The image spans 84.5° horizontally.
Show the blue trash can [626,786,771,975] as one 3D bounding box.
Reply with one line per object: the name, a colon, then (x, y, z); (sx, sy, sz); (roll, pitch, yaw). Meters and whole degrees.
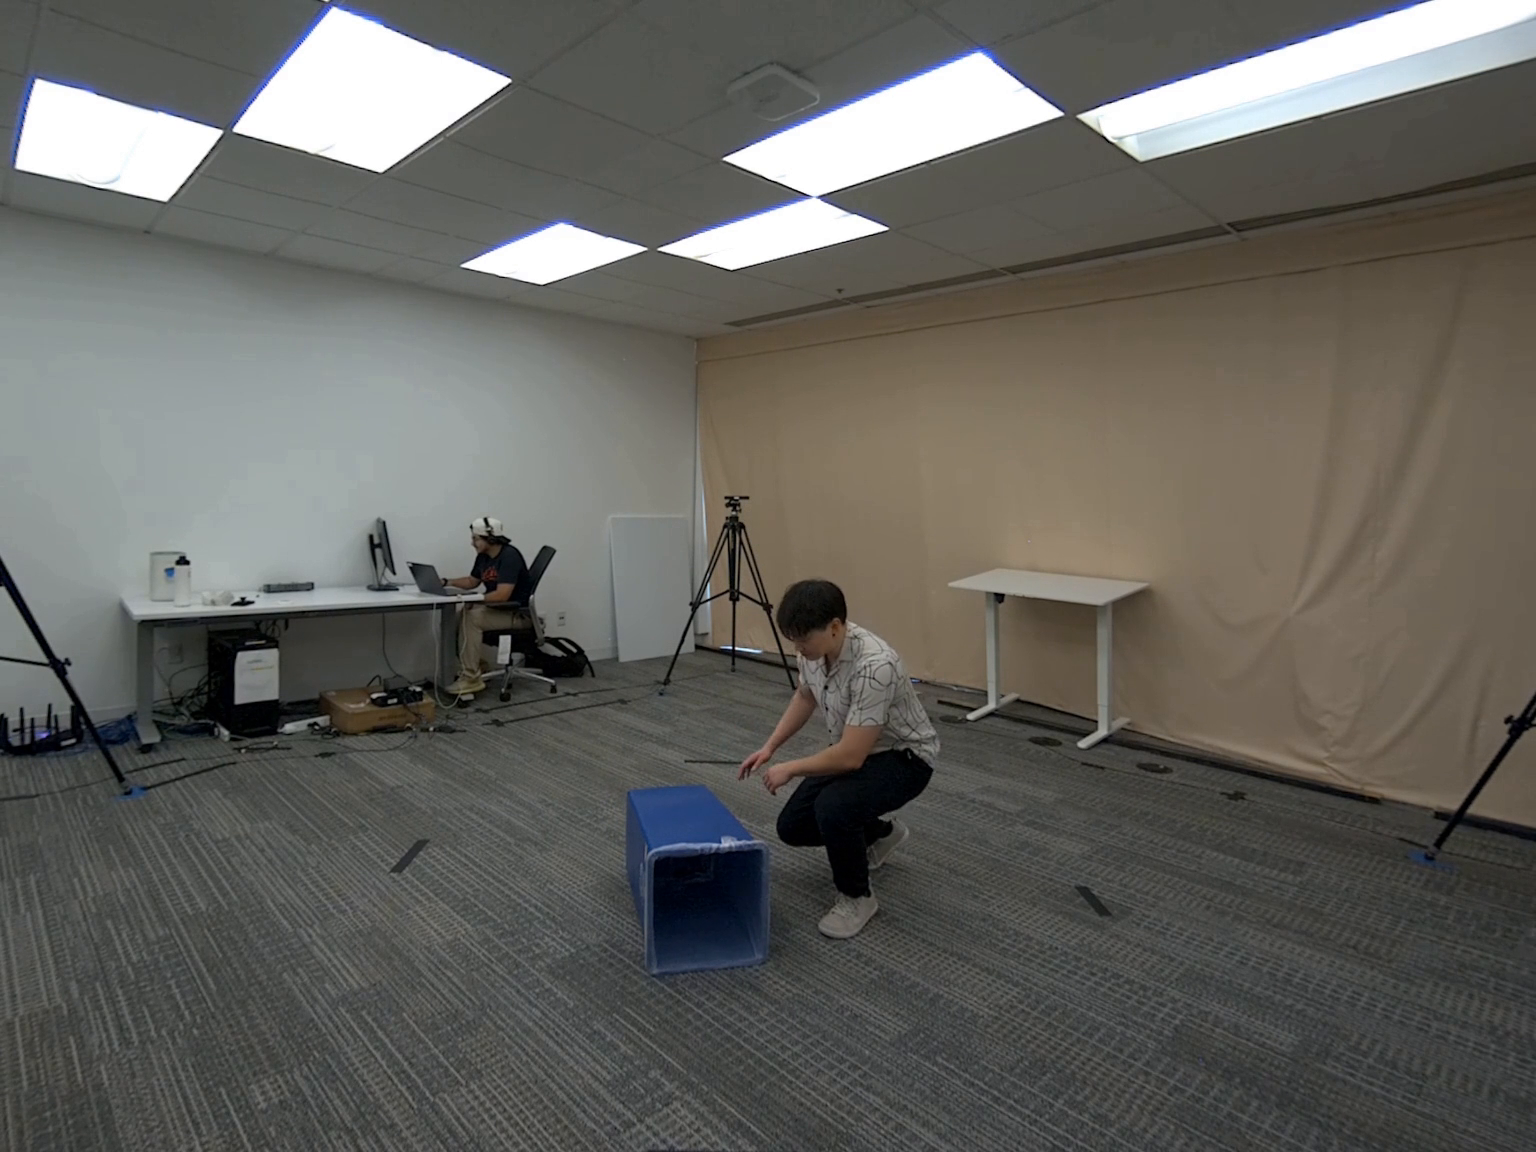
blue trash can: (-0.274, 0.961, 2.806); (0.373, 0.374, 0.722); (1, 1, -16)
